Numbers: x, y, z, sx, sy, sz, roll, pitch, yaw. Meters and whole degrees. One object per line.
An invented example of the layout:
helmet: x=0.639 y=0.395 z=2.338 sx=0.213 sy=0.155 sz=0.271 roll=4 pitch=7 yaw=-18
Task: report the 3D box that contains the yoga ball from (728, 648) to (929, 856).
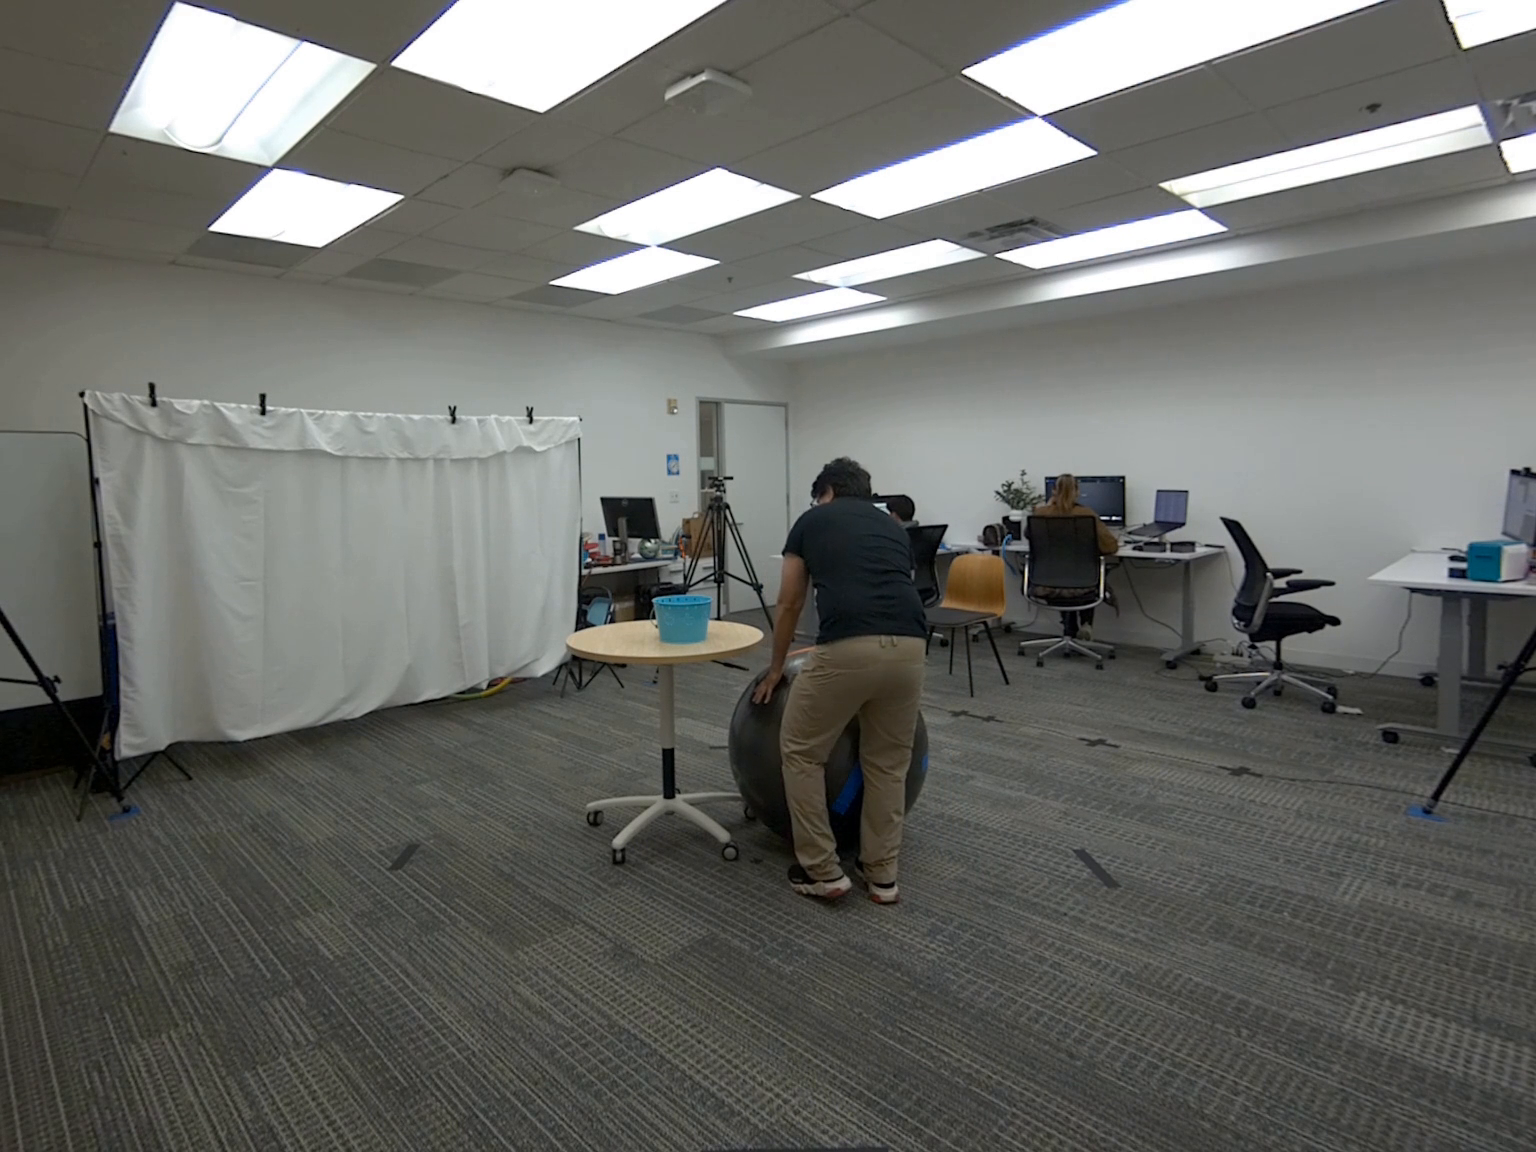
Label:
yoga ball: x=0.238 y=0.668 z=3.305 sx=0.757 sy=0.755 sz=0.762 roll=-1 pitch=5 yaw=-2
